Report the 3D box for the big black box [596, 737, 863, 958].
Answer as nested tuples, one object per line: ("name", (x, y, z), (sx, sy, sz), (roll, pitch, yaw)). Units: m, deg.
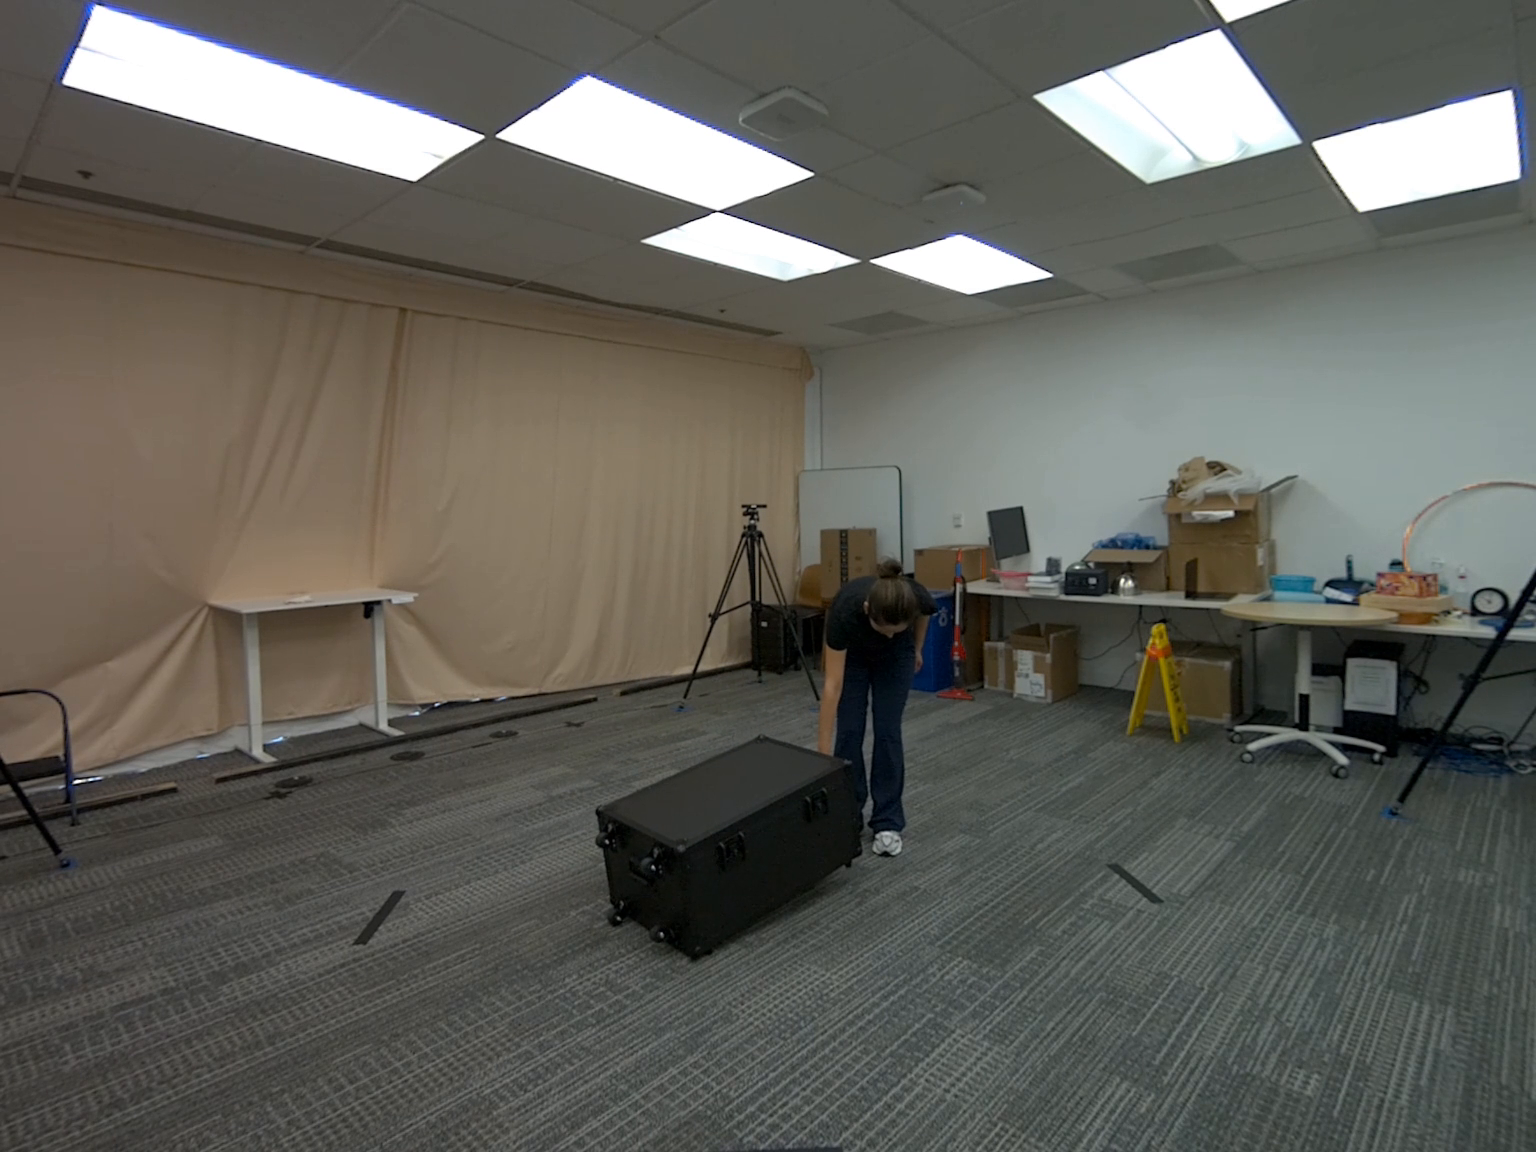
("big black box", (-0.091, 0.905, 2.979), (0.839, 0.393, 0.538), (-15, 13, -39))
